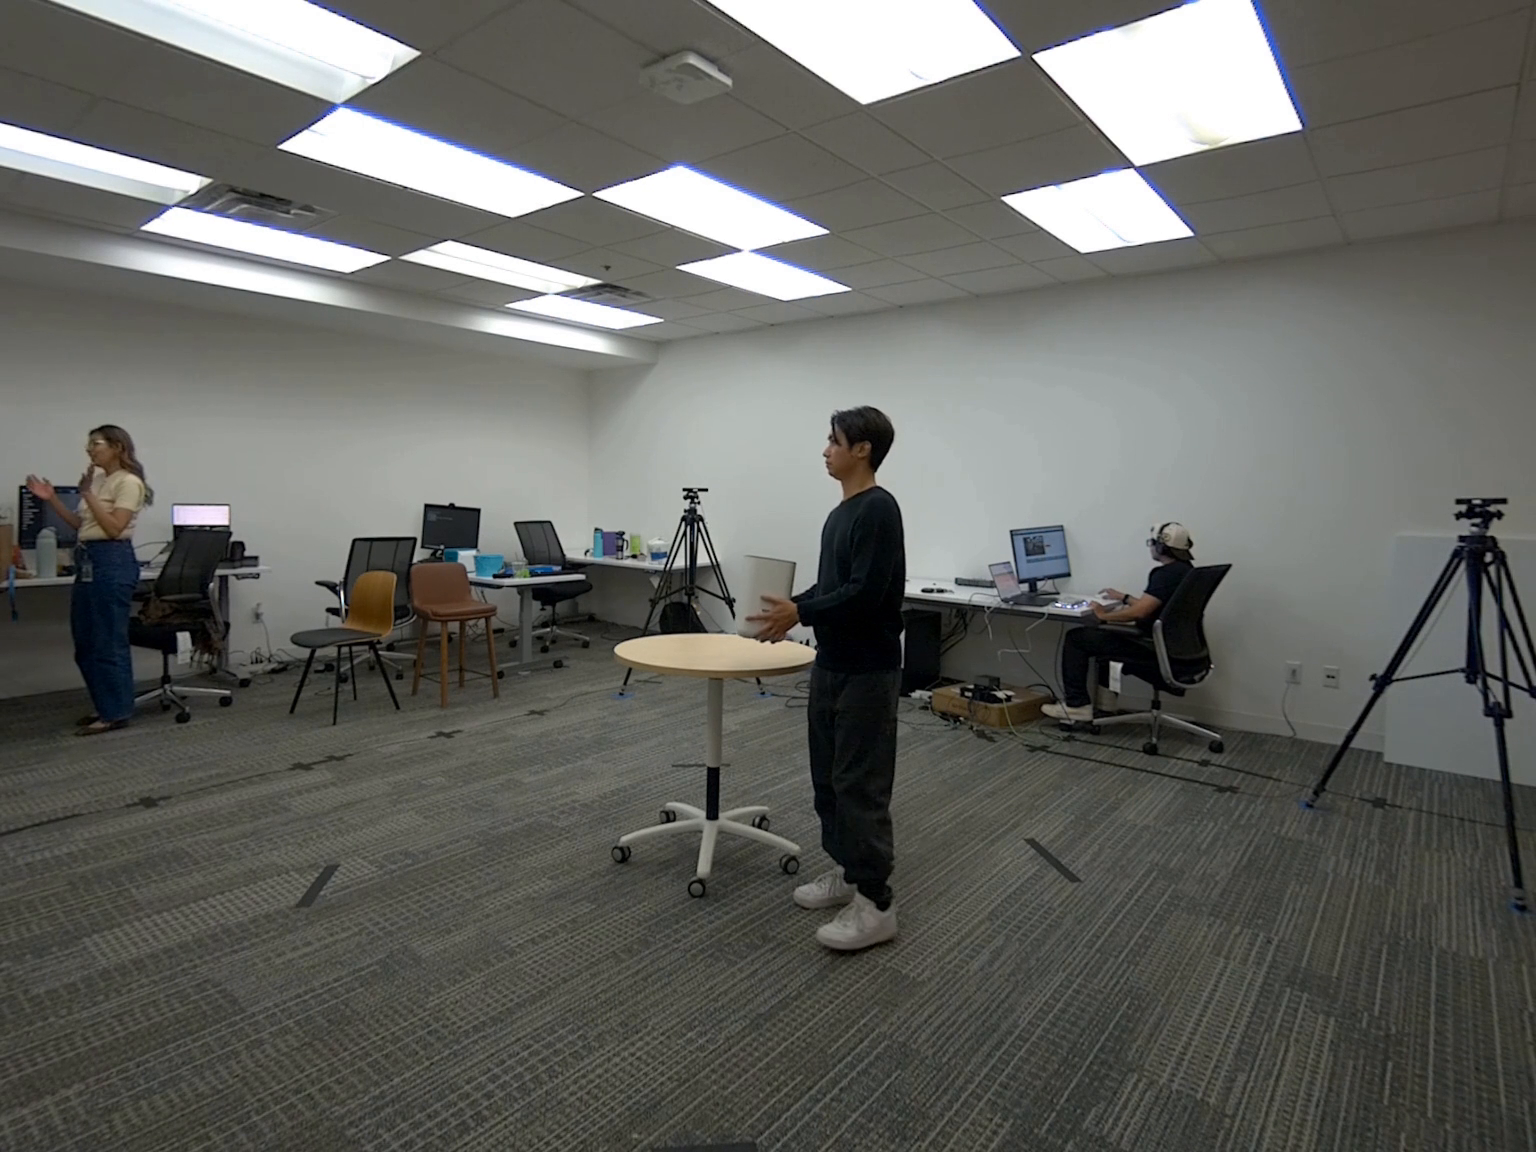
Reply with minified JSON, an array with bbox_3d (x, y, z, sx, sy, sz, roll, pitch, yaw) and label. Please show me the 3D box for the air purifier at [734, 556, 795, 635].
[{"bbox_3d":[-0.017,0.069,2.803,0.169,0.266,0.173,9,-1,-8],"label":"air purifier"}]
